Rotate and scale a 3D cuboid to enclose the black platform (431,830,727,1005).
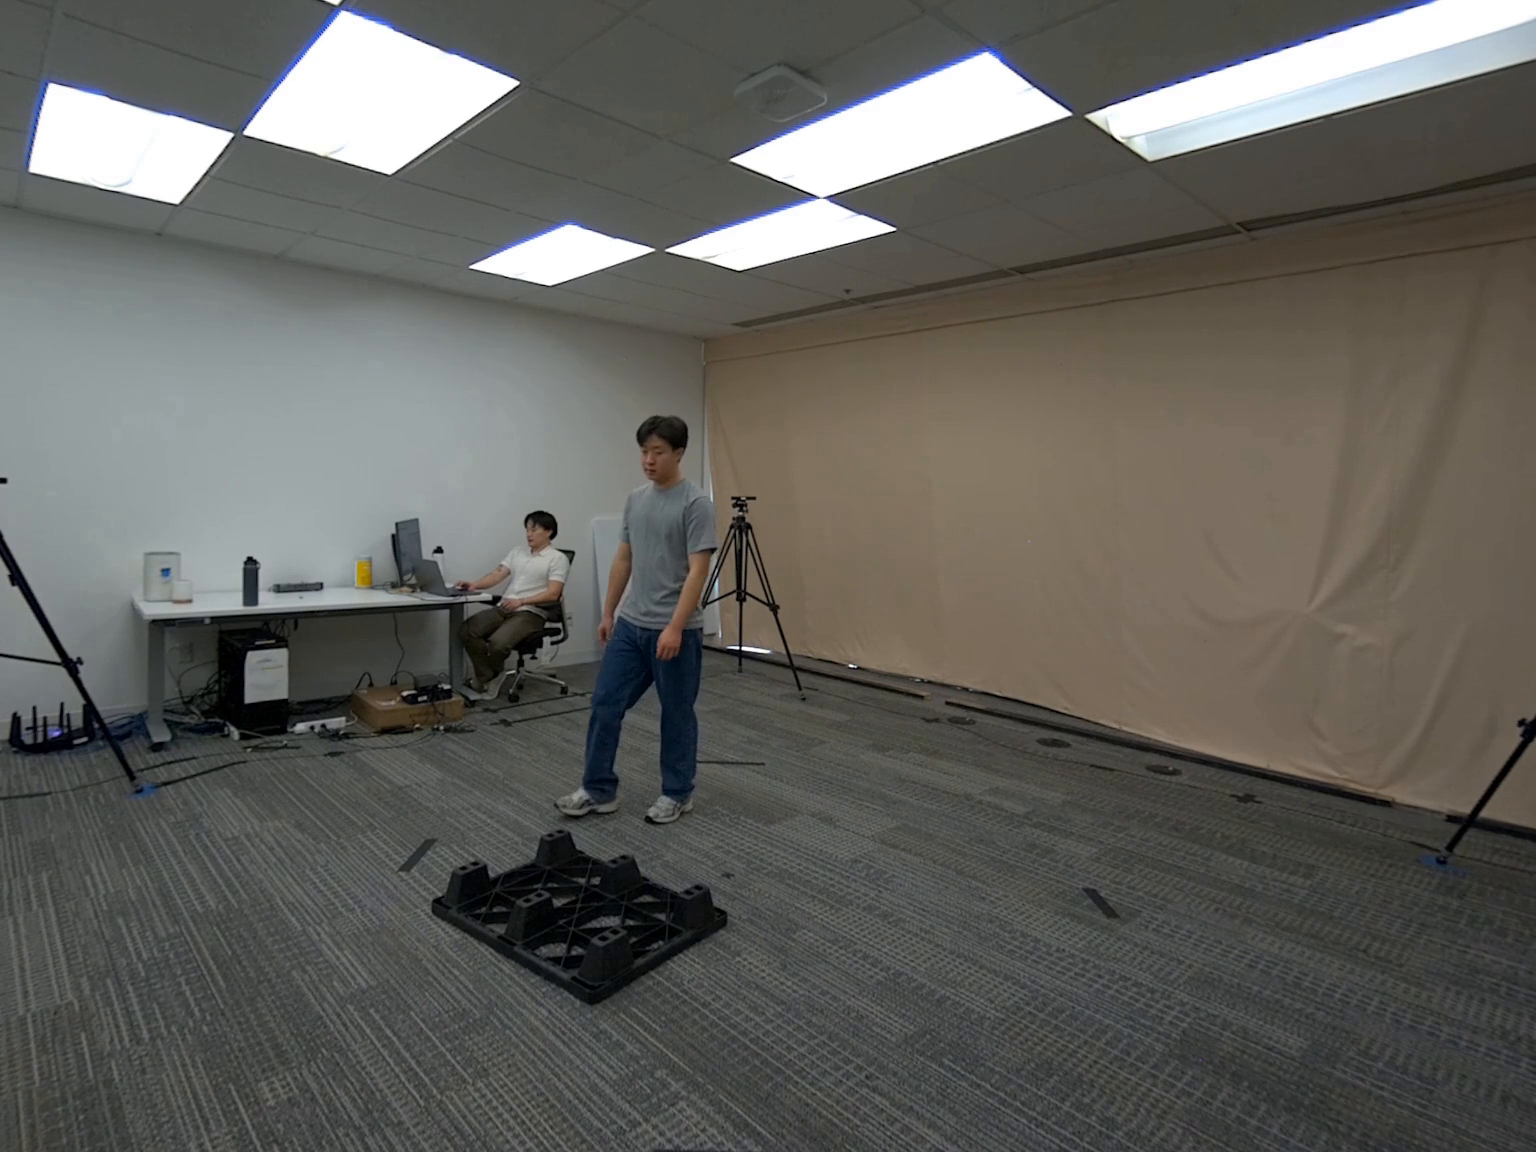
[{"bbox_3d":[-0.632,1.061,2.762,0.825,0.143,0.592,5,6,37],"label":"black platform"}]
